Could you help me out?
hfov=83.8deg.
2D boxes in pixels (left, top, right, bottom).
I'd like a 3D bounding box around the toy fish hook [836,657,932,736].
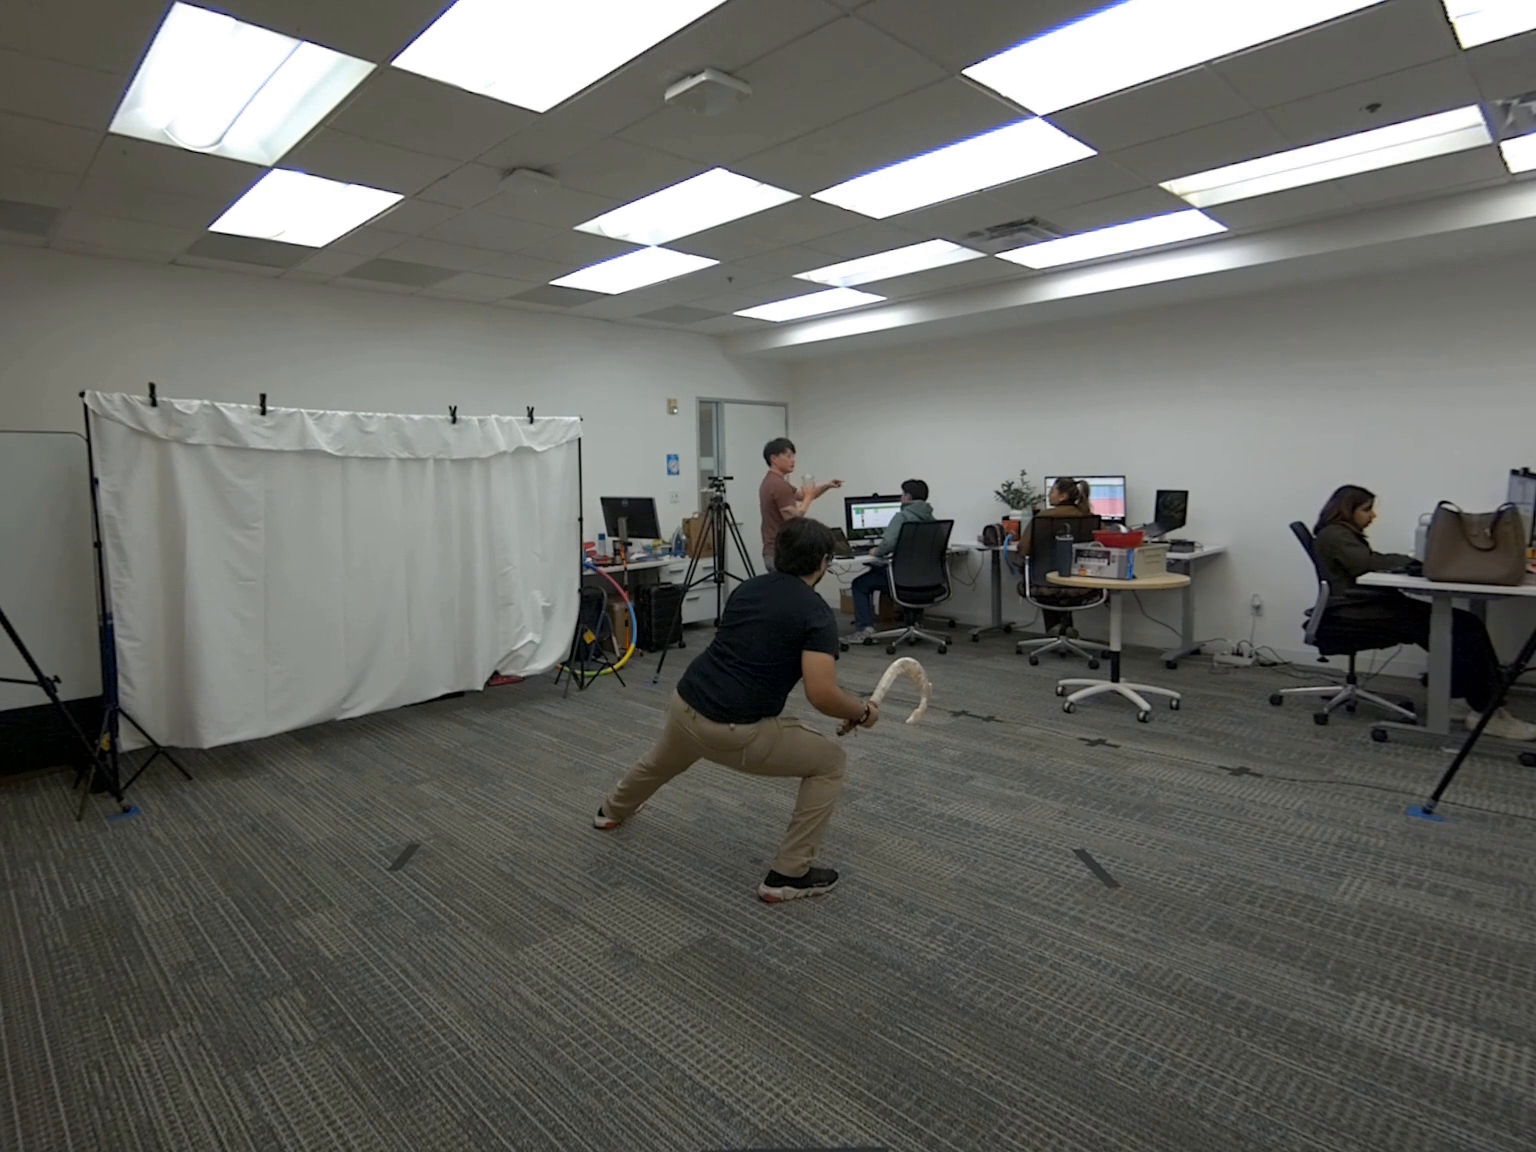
[{"bbox_3d":[0.426,0.471,3.062,0.501,0.225,0.049,-32,0,-36],"label":"toy fish hook"}]
